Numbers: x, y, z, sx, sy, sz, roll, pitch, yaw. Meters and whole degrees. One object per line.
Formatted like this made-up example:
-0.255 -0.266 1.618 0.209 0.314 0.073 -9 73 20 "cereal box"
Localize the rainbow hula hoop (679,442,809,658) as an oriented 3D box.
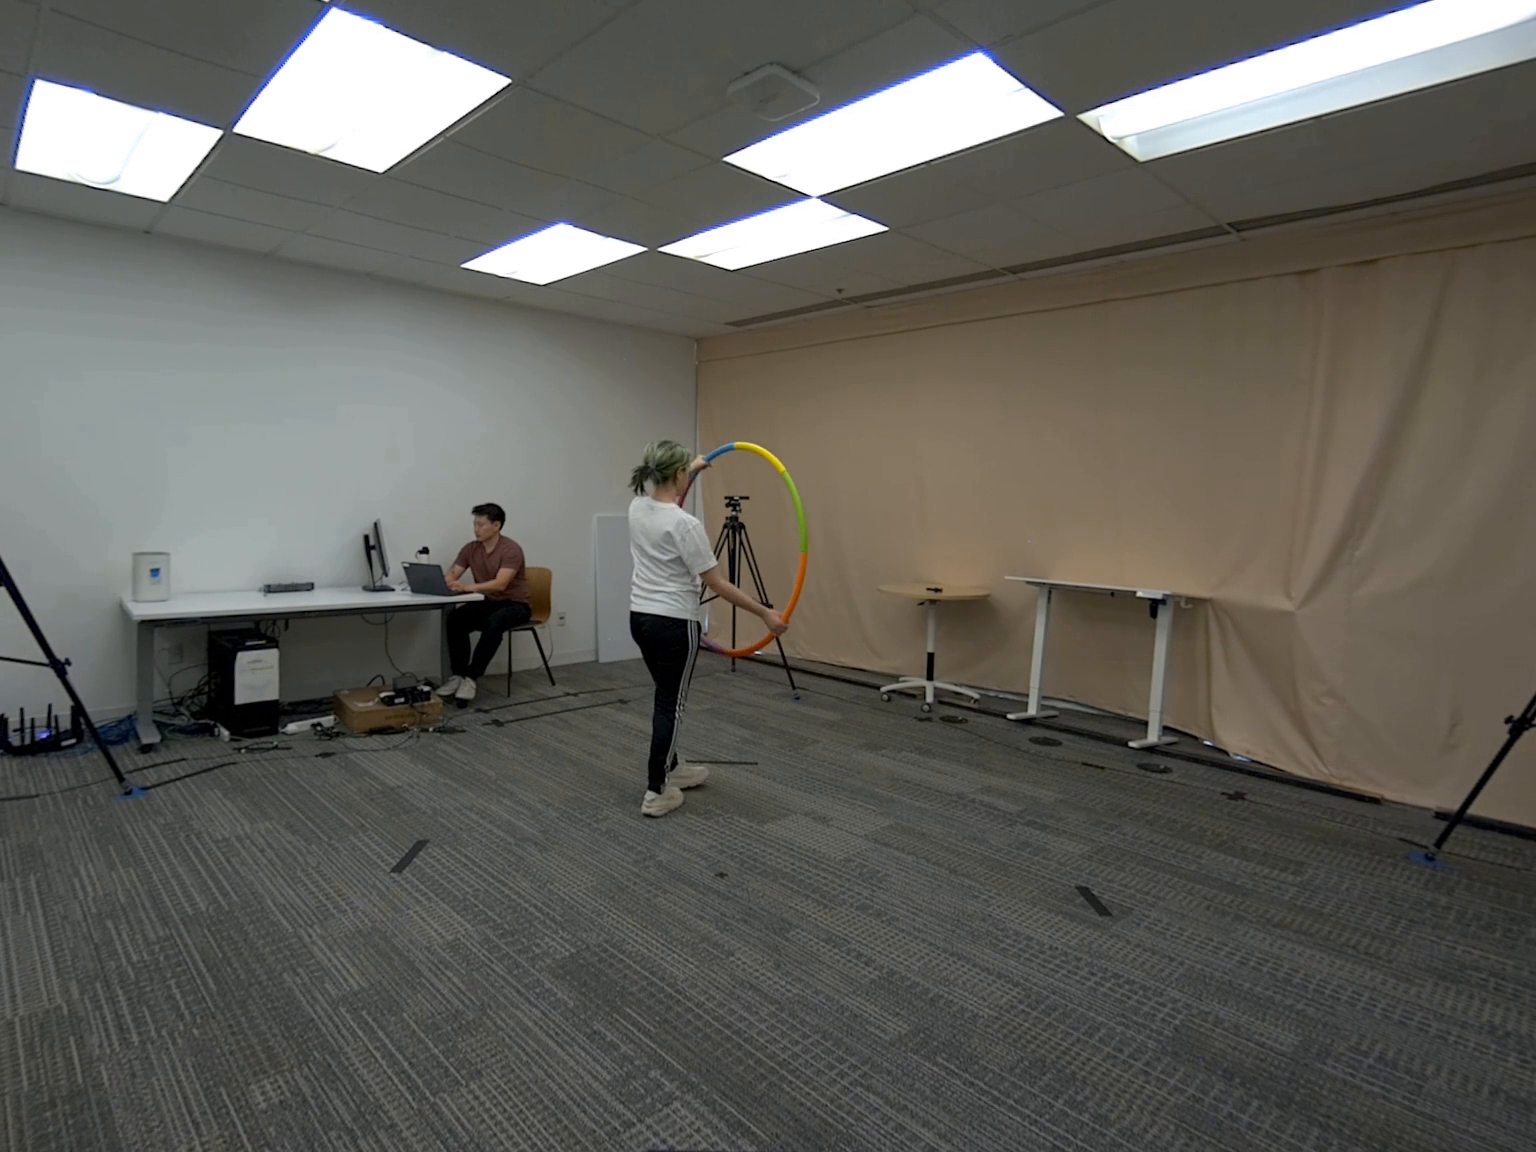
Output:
-0.181 -0.121 3.923 0.035 0.978 1.004 4 2 -41 "rainbow hula hoop"
